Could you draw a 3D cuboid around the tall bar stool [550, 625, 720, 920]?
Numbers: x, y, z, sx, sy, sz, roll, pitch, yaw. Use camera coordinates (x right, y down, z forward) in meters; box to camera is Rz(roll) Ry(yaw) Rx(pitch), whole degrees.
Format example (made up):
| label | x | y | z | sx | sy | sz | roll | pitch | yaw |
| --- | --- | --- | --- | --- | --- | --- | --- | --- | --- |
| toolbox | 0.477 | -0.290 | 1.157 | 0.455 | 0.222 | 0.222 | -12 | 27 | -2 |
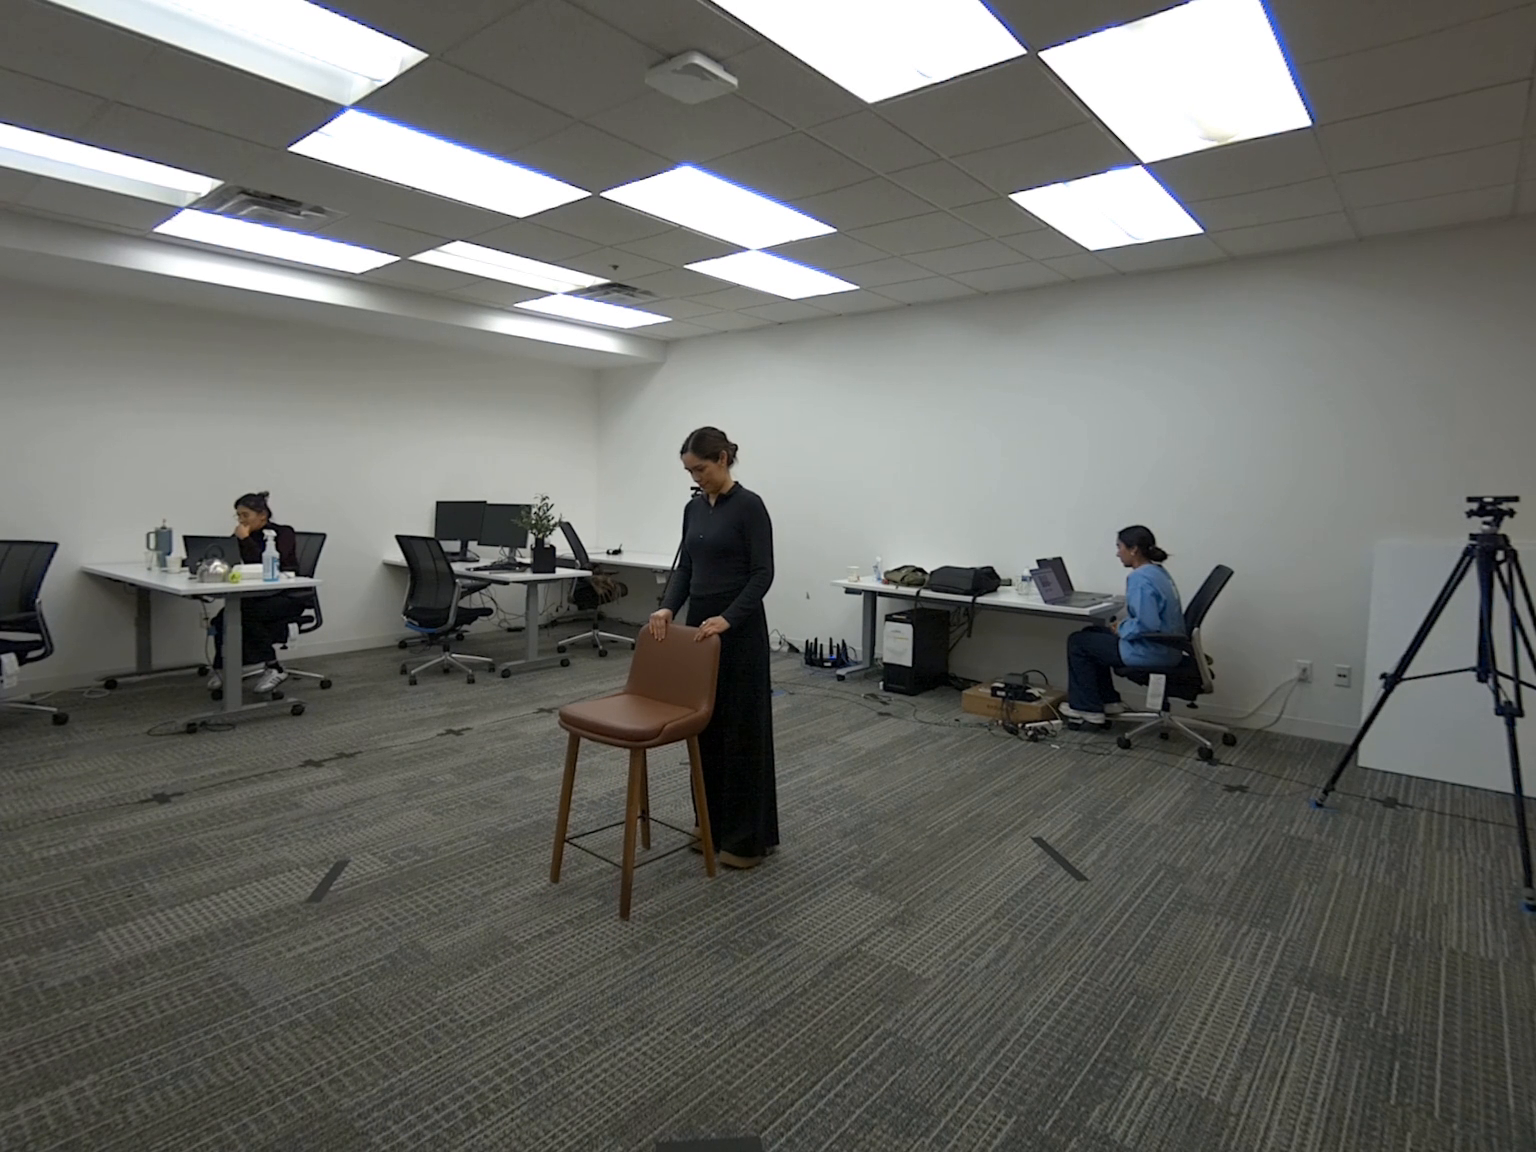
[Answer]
| label | x | y | z | sx | sy | sz | roll | pitch | yaw |
| --- | --- | --- | --- | --- | --- | --- | --- | --- | --- |
| tall bar stool | -0.461 | 0.633 | 2.997 | 0.472 | 0.889 | 0.453 | 4 | 2 | 41 |
